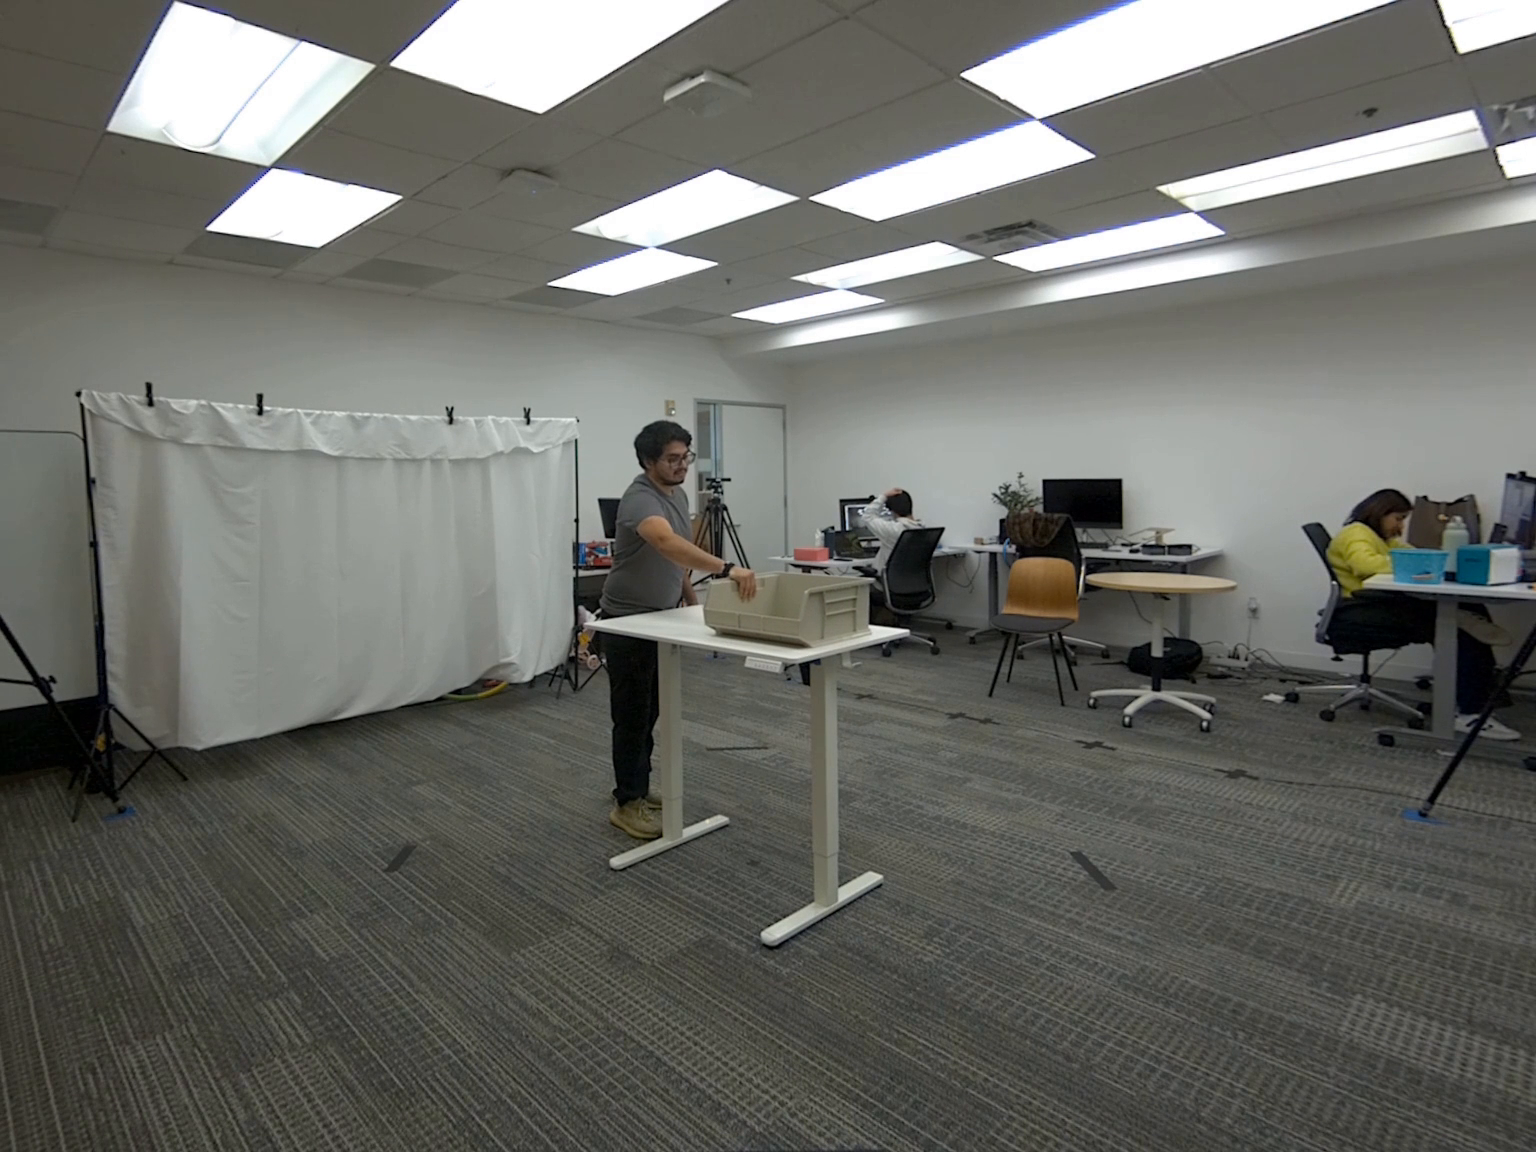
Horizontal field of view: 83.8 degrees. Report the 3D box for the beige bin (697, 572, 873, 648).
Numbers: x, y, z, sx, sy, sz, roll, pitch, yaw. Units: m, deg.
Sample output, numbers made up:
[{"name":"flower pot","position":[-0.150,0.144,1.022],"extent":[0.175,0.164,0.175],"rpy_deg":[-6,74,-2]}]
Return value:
[{"name":"beige bin","position":[0.068,0.105,2.775],"extent":[0.435,0.188,0.367],"rpy_deg":[4,6,45]}]
